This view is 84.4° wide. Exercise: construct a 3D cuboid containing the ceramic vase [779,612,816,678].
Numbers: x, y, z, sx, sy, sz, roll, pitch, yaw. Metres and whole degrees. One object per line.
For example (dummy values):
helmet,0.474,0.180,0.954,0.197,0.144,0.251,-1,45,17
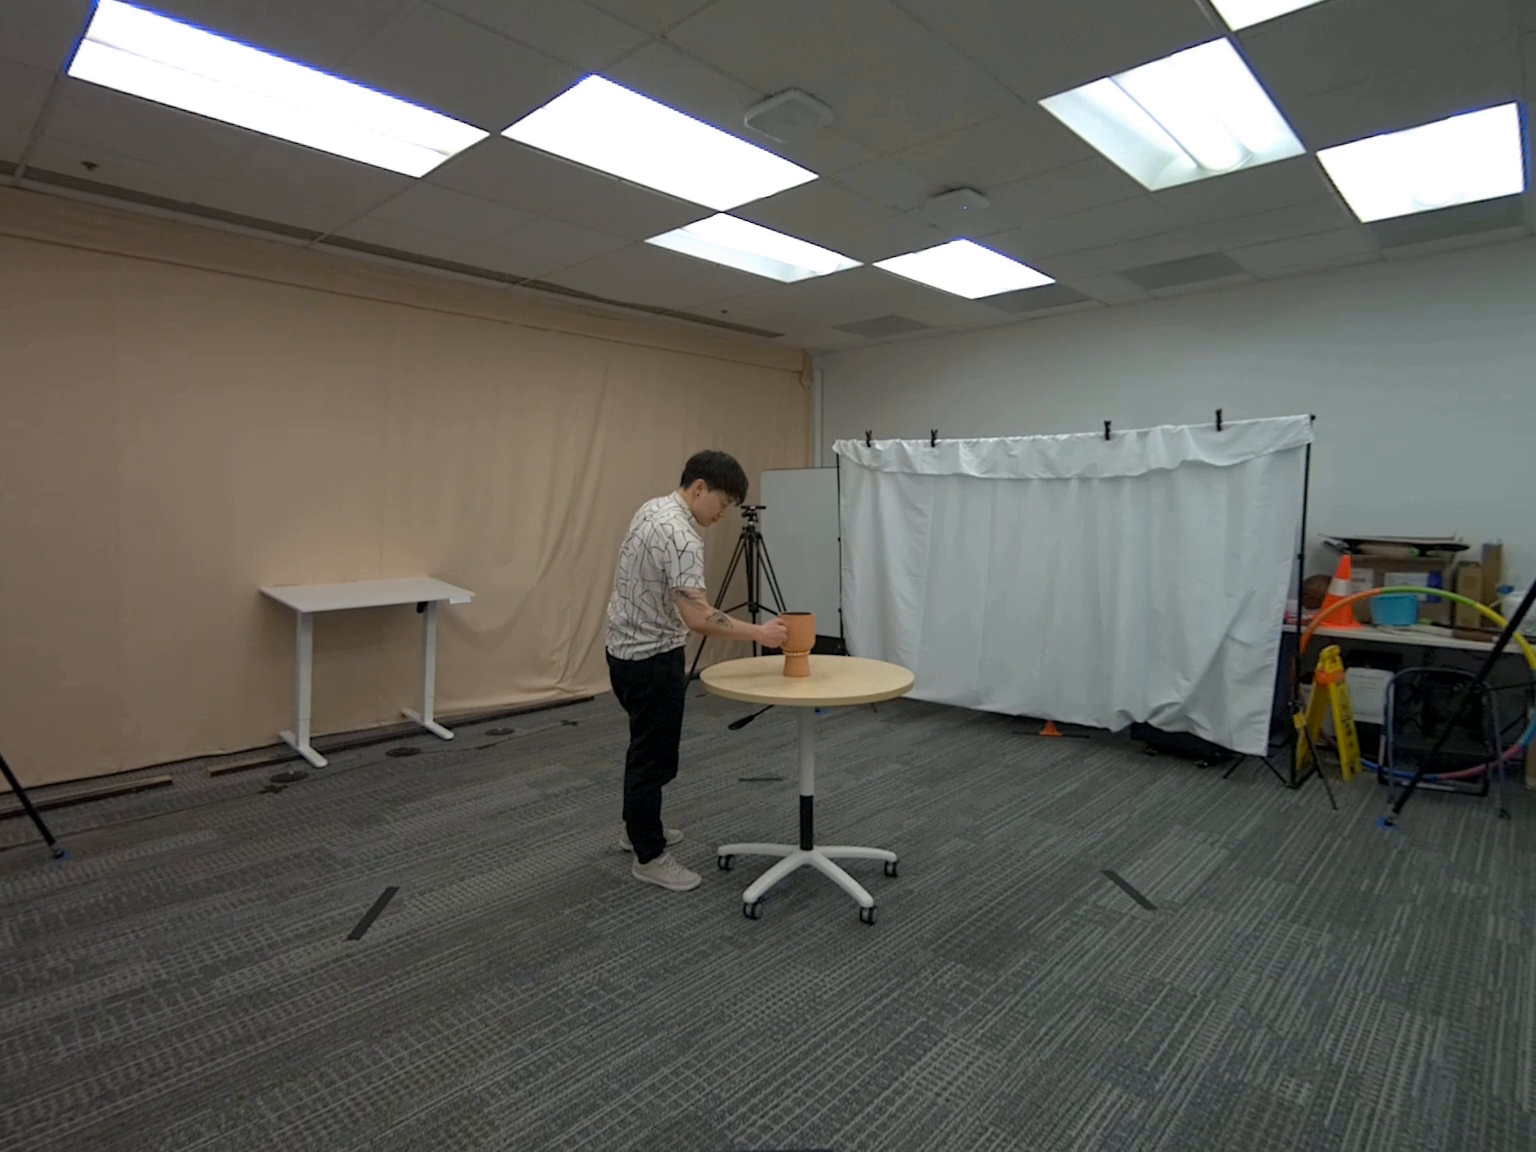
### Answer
ceramic vase,0.104,0.250,3.012,0.157,0.219,0.136,-2,3,-13
